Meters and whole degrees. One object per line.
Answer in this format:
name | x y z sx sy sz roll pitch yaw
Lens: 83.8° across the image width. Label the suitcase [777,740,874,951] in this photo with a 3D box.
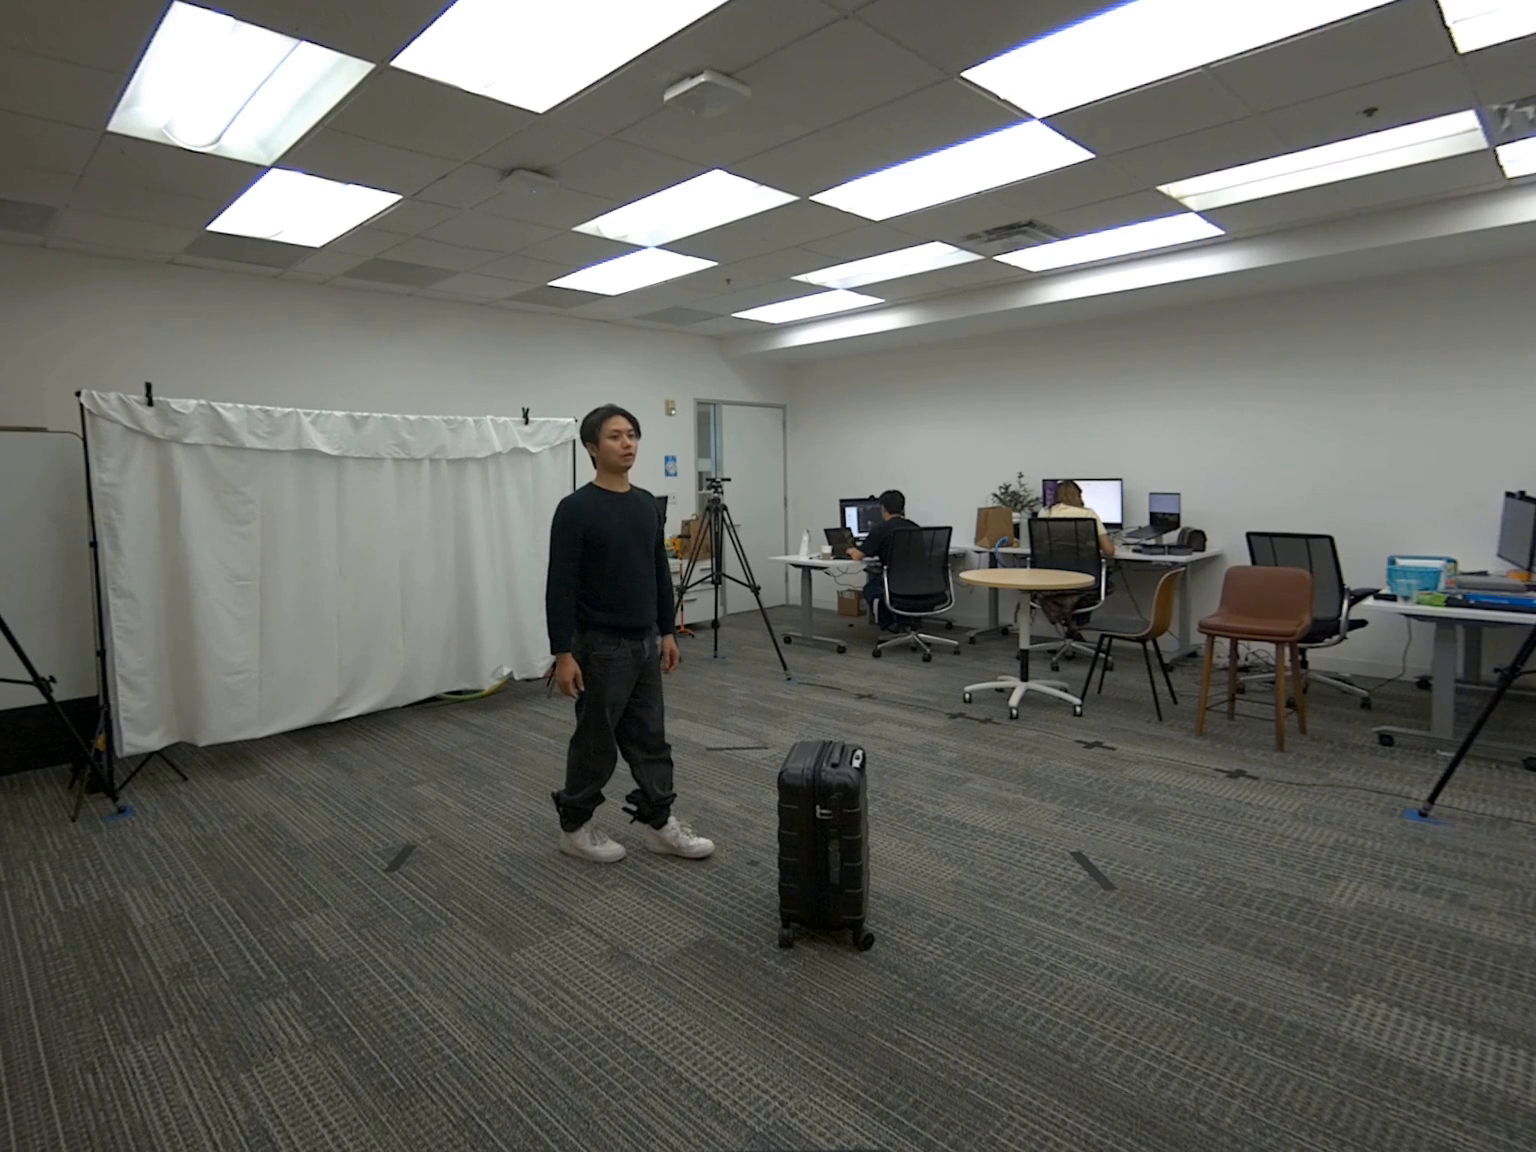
suitcase | 0.181 0.811 2.672 0.251 0.547 0.373 -1 5 11
